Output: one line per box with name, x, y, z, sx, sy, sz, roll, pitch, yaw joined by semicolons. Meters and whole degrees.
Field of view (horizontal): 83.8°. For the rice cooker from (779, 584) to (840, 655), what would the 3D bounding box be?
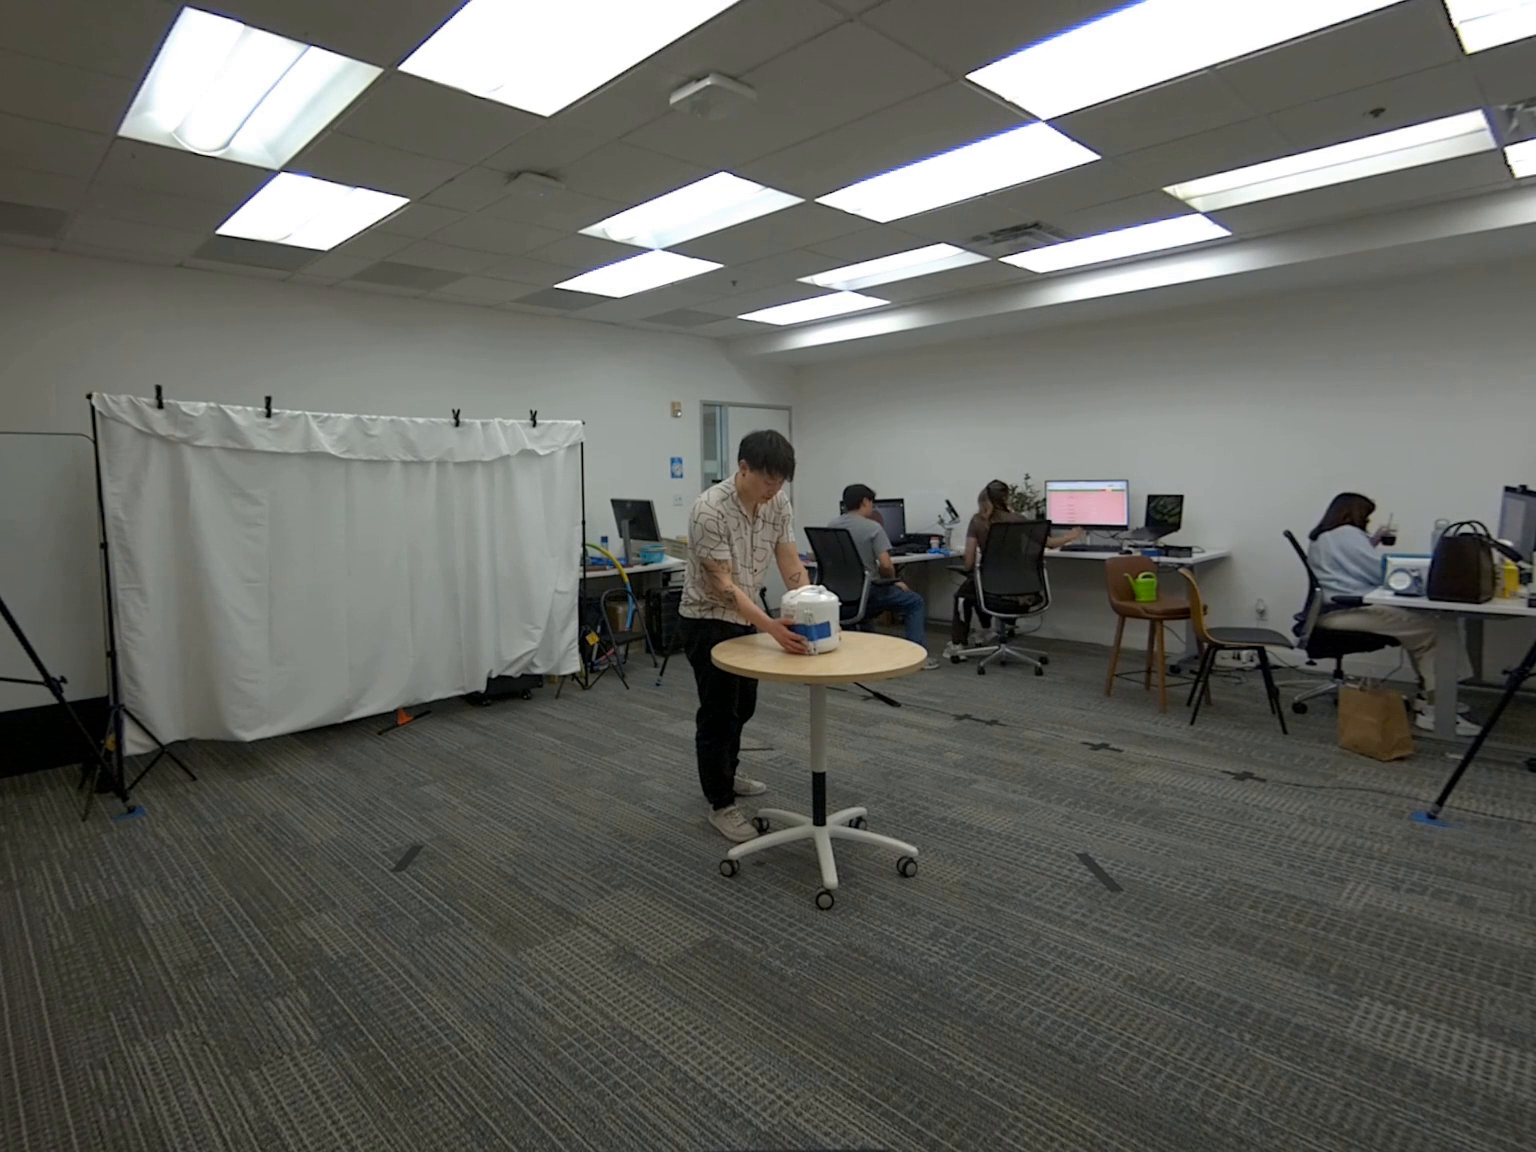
rice cooker;0.153;0.151;3.071;0.215;0.232;0.224;-5;7;-41
